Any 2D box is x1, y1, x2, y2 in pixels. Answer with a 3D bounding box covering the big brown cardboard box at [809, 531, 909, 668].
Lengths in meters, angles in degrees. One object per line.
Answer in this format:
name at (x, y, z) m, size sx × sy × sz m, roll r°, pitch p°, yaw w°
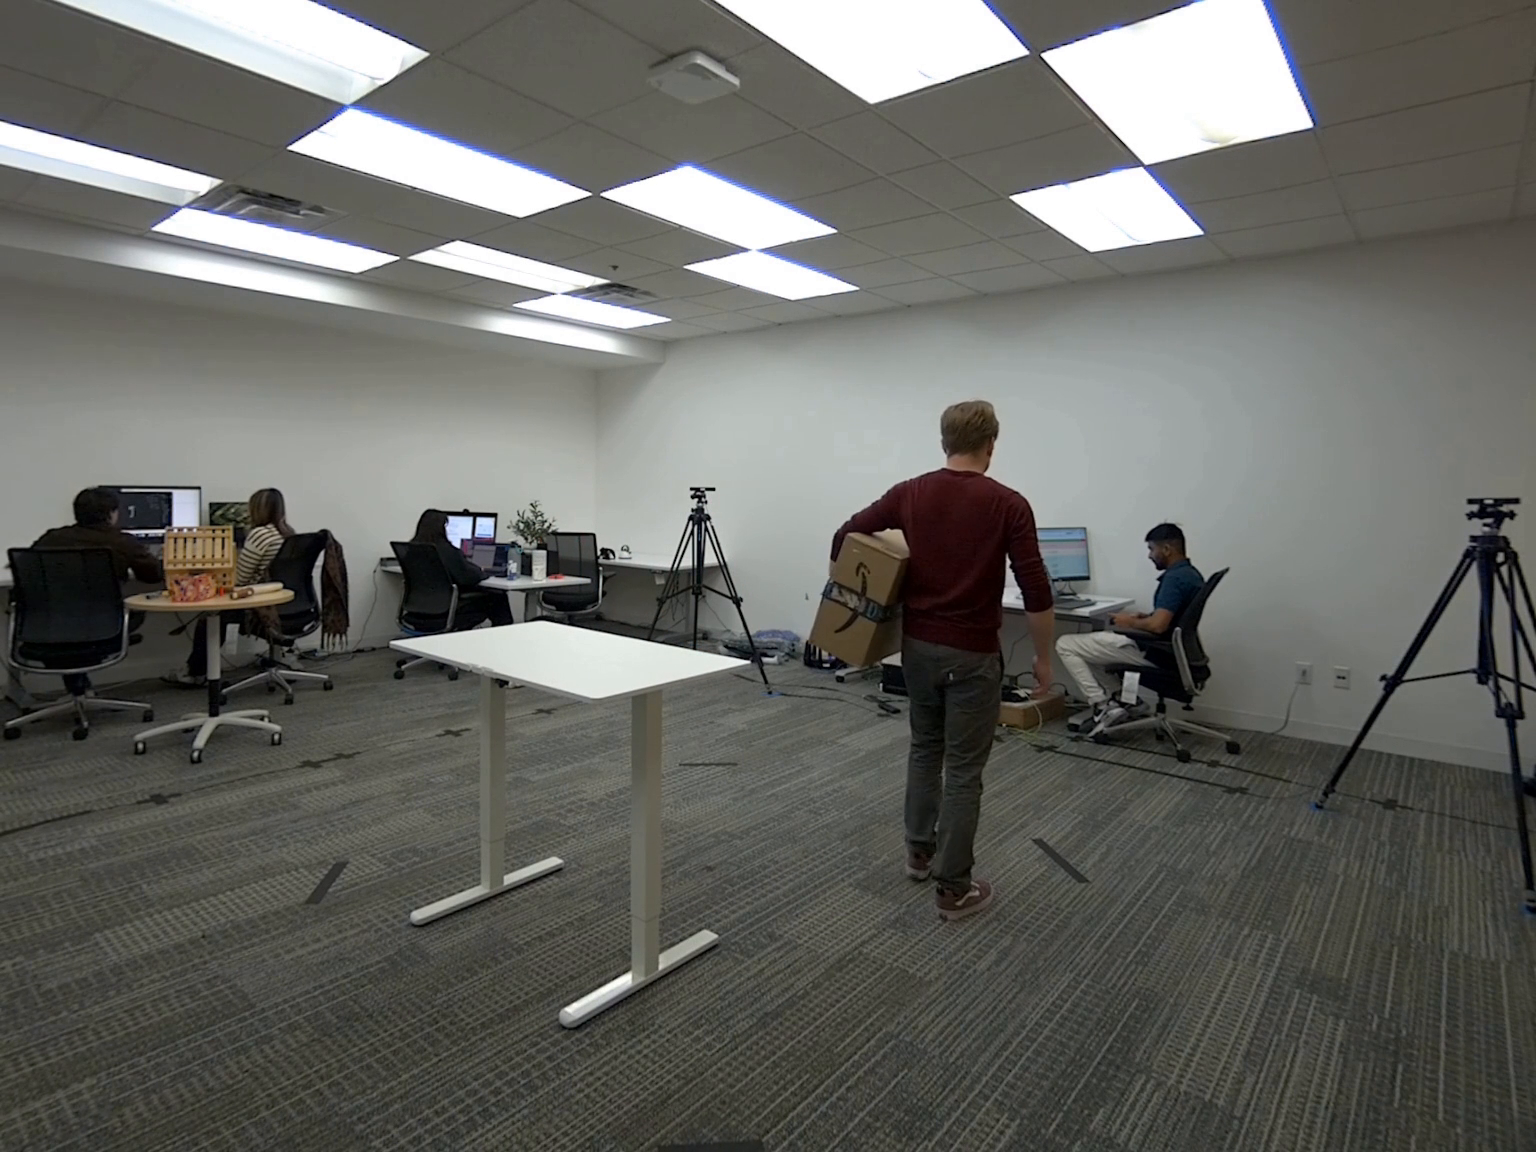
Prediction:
big brown cardboard box at (0.414, 0.065, 3.140) m, size 0.241 × 0.414 × 0.573 m, roll 26°, pitch 15°, yaw 26°
